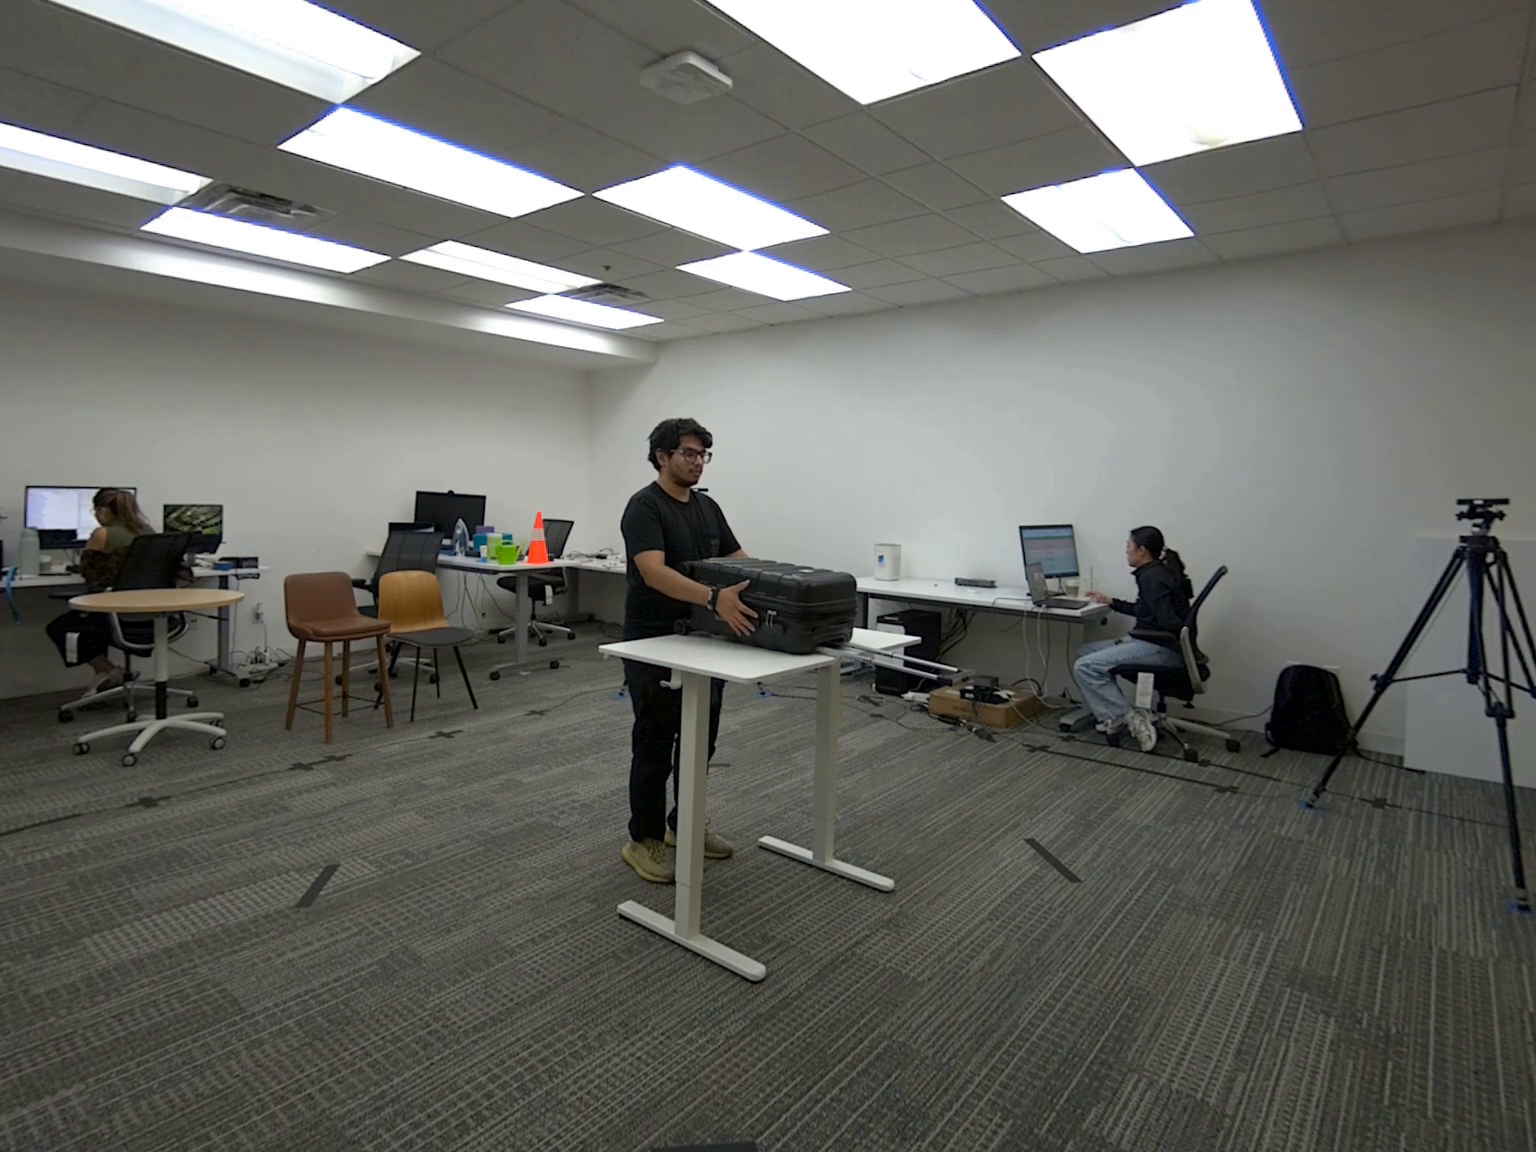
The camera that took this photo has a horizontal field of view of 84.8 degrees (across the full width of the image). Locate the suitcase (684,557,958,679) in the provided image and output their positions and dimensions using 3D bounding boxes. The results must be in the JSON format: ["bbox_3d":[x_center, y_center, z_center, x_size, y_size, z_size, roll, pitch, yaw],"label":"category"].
[{"bbox_3d":[0.156,0.116,2.720,1.013,0.256,0.372,7,6,40],"label":"suitcase"}]
